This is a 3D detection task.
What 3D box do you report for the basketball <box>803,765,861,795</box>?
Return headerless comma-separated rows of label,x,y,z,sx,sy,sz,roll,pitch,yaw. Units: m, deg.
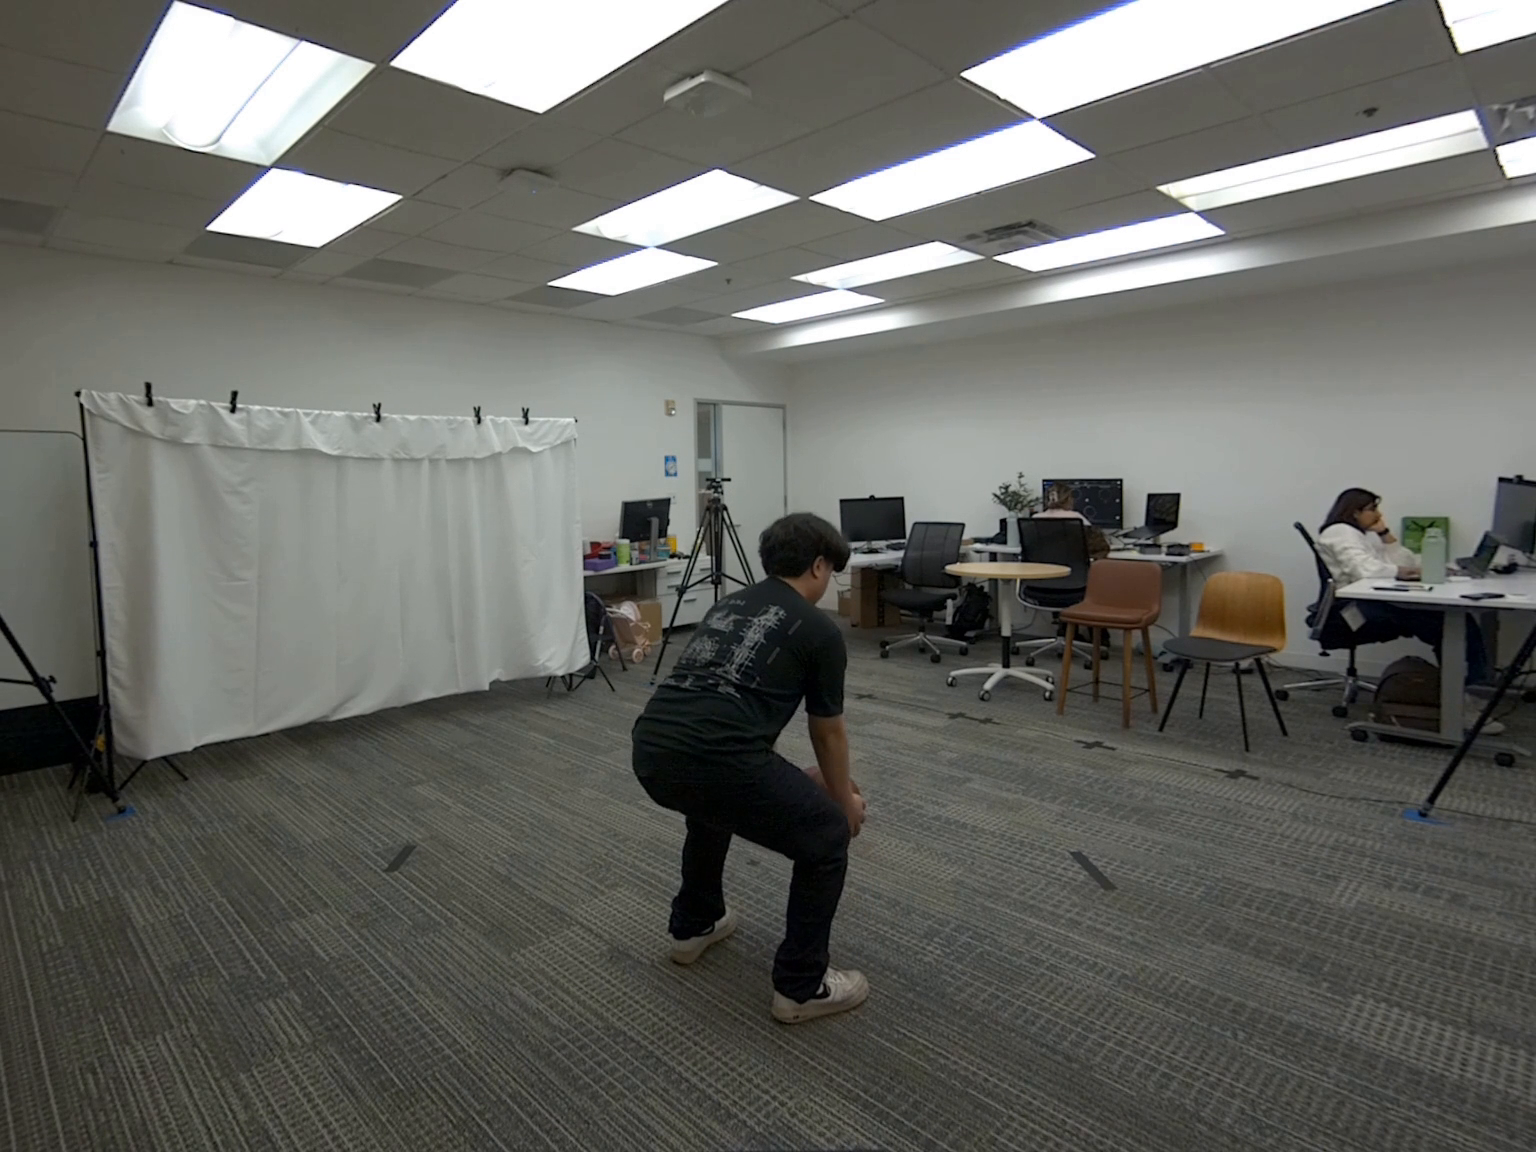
basketball,0.184,0.697,2.602,0.236,0.235,0.237,-1,5,-2
